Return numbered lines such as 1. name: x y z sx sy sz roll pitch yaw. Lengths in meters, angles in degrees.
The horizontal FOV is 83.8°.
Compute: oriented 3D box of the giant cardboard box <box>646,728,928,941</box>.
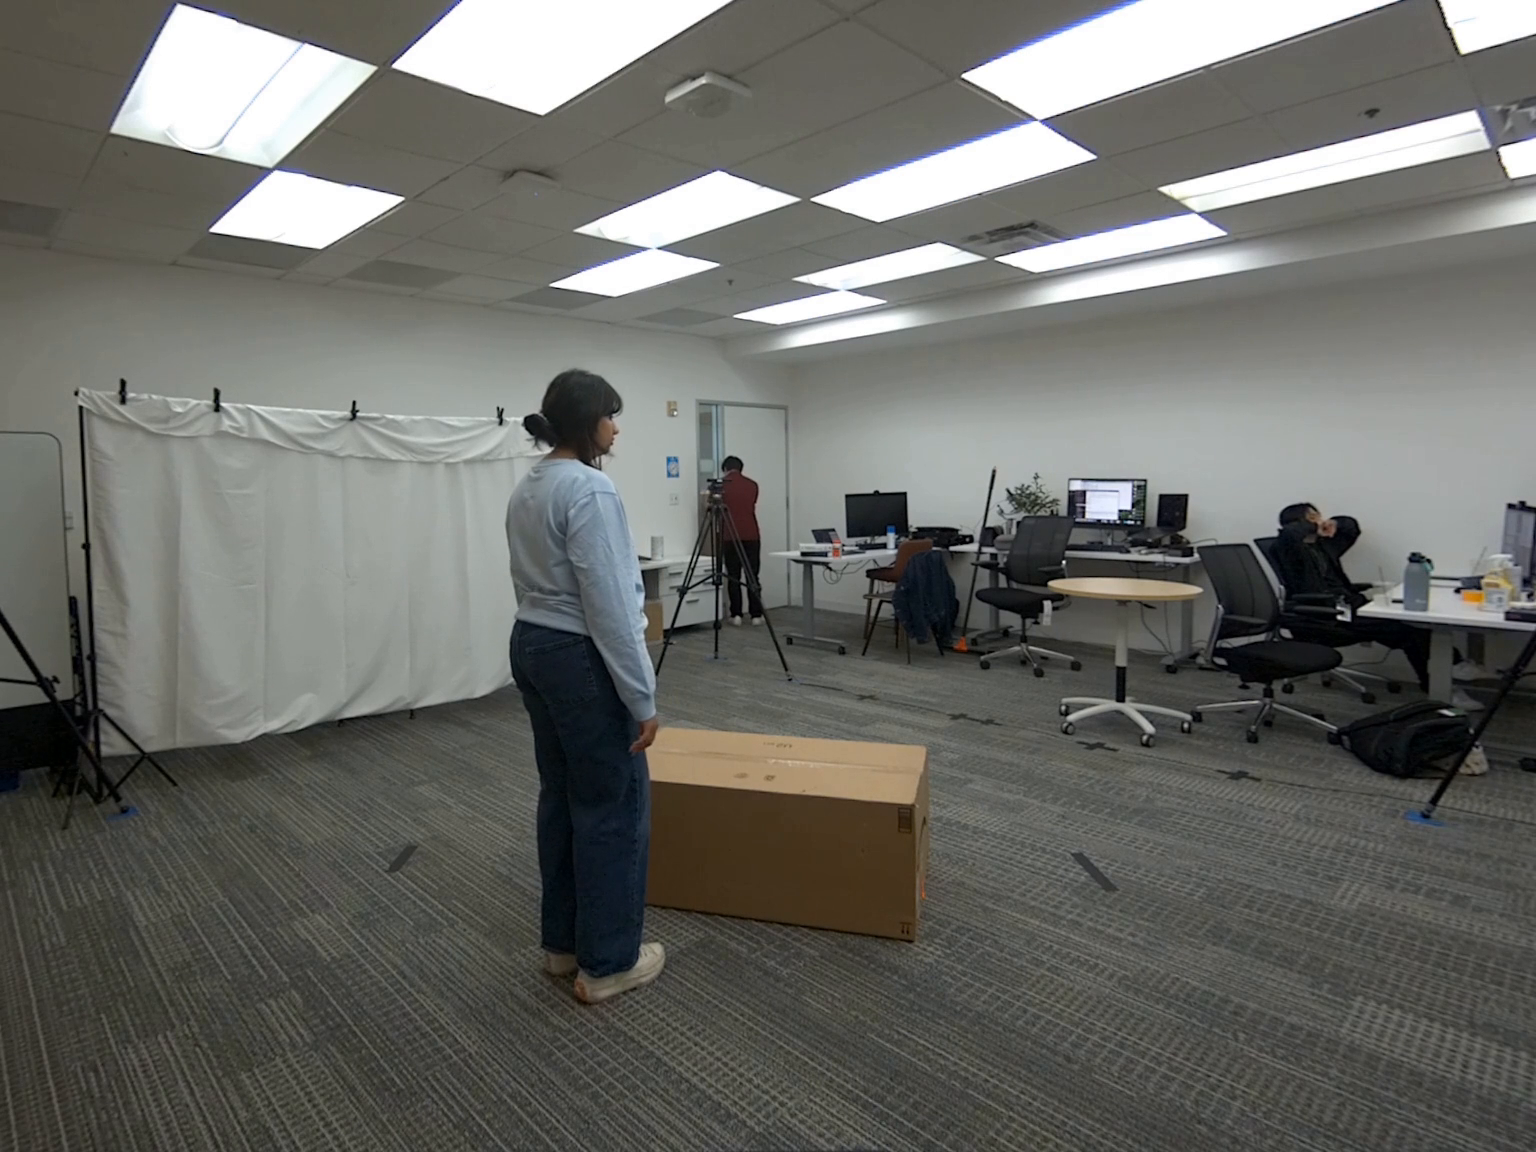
1. giant cardboard box: 0.016 0.842 2.968 1.043 0.424 0.571 1 6 17
